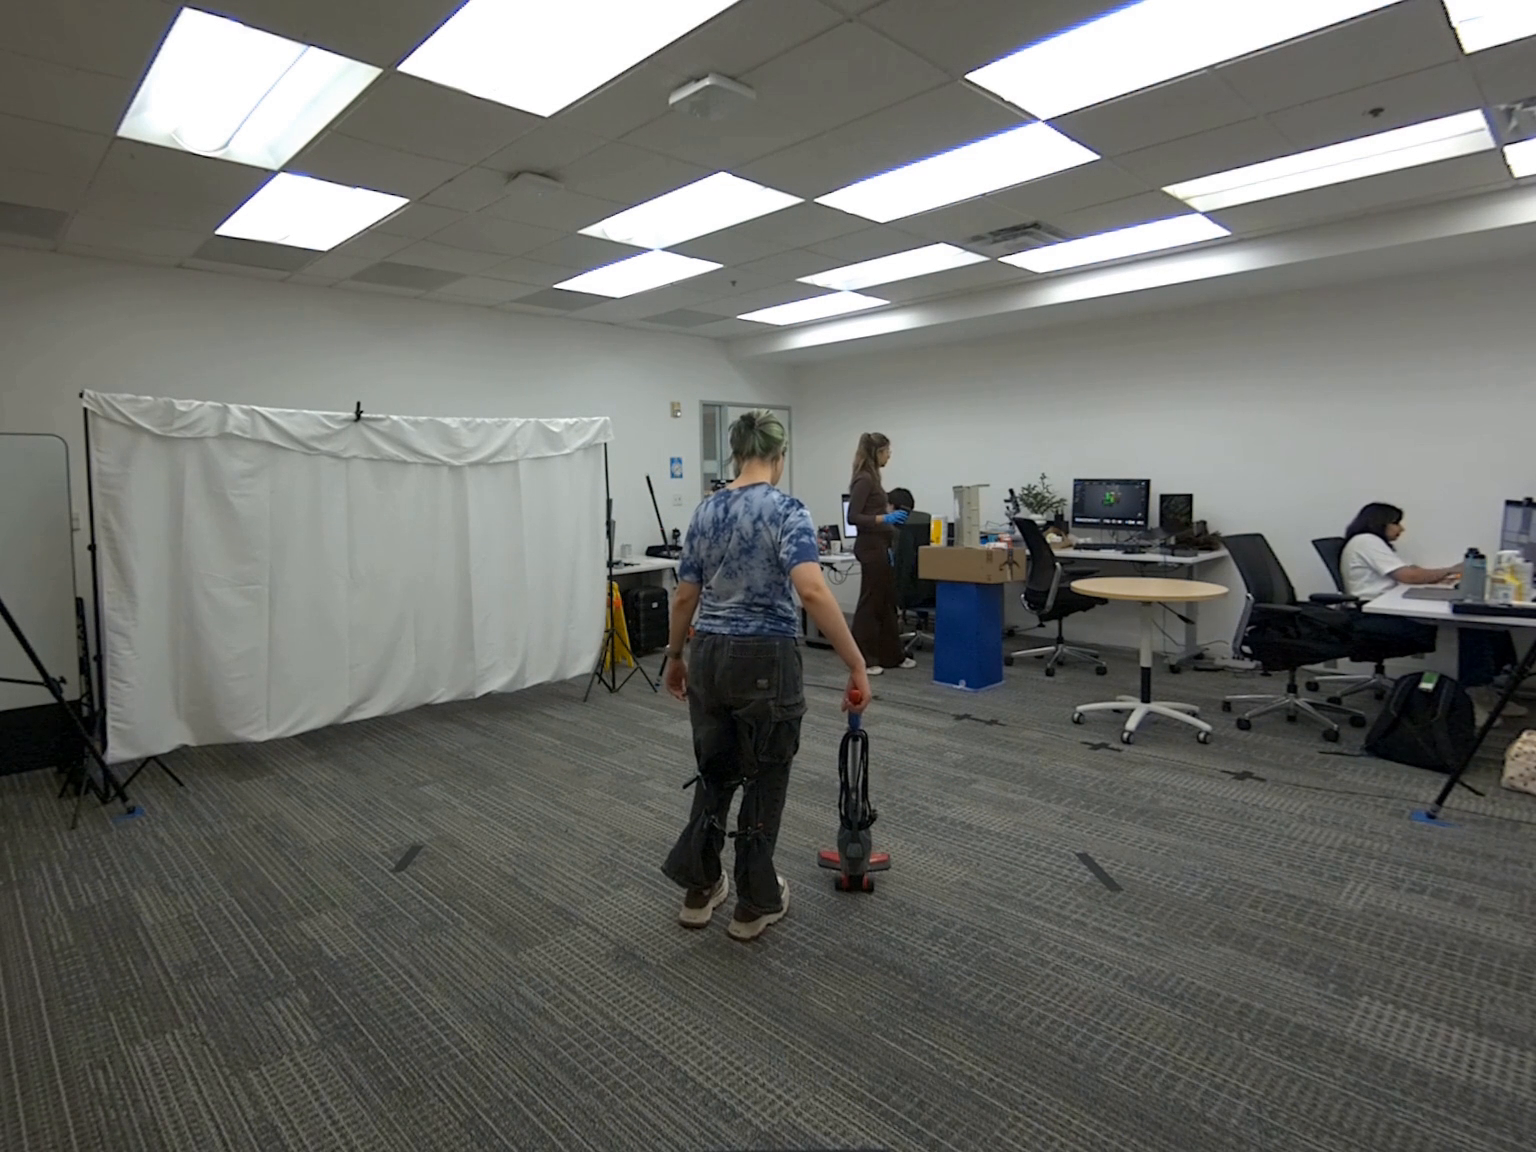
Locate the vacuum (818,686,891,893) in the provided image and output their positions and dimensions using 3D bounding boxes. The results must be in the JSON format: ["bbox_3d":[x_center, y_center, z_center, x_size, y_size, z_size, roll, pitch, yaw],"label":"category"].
[{"bbox_3d":[0.272,0.684,2.592,0.254,1.018,0.147,2,47,6],"label":"vacuum"}]
